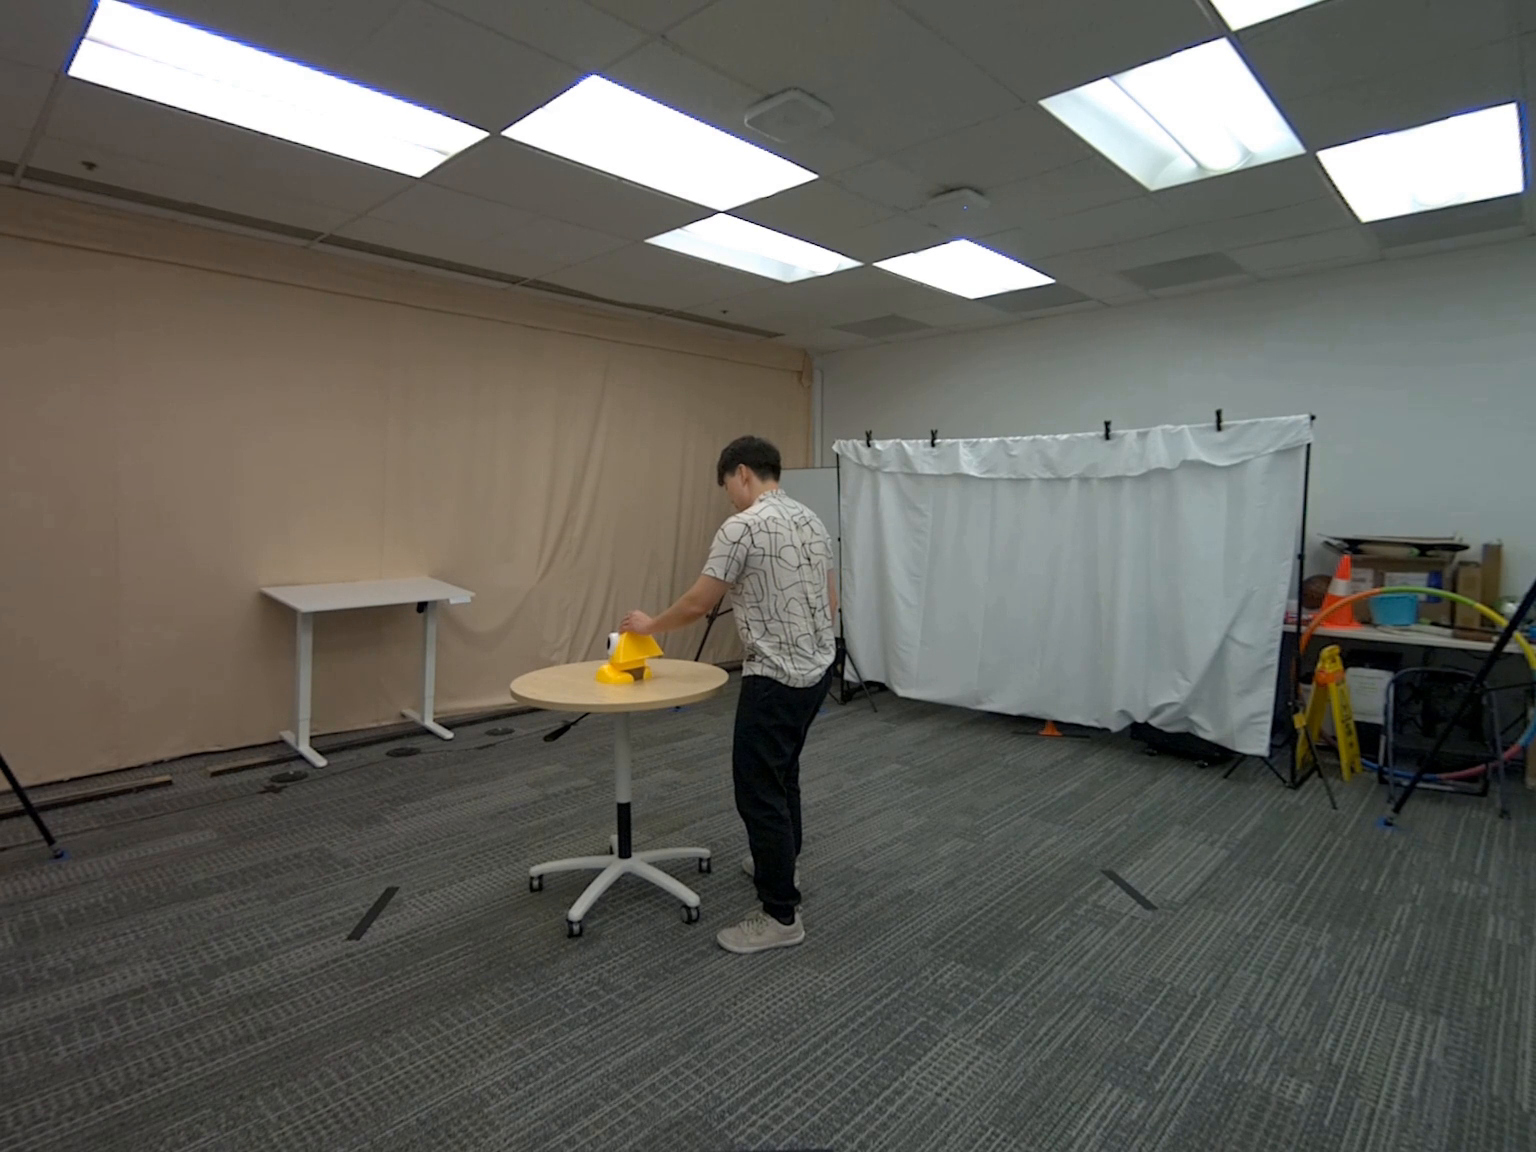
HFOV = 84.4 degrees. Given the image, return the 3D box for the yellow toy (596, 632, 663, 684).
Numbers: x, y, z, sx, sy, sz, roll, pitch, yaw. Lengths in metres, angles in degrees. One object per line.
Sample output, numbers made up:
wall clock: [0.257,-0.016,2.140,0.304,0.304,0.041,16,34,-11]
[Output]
yellow toy: [-0.507,0.253,2.994,0.199,0.230,0.199,2,5,39]
